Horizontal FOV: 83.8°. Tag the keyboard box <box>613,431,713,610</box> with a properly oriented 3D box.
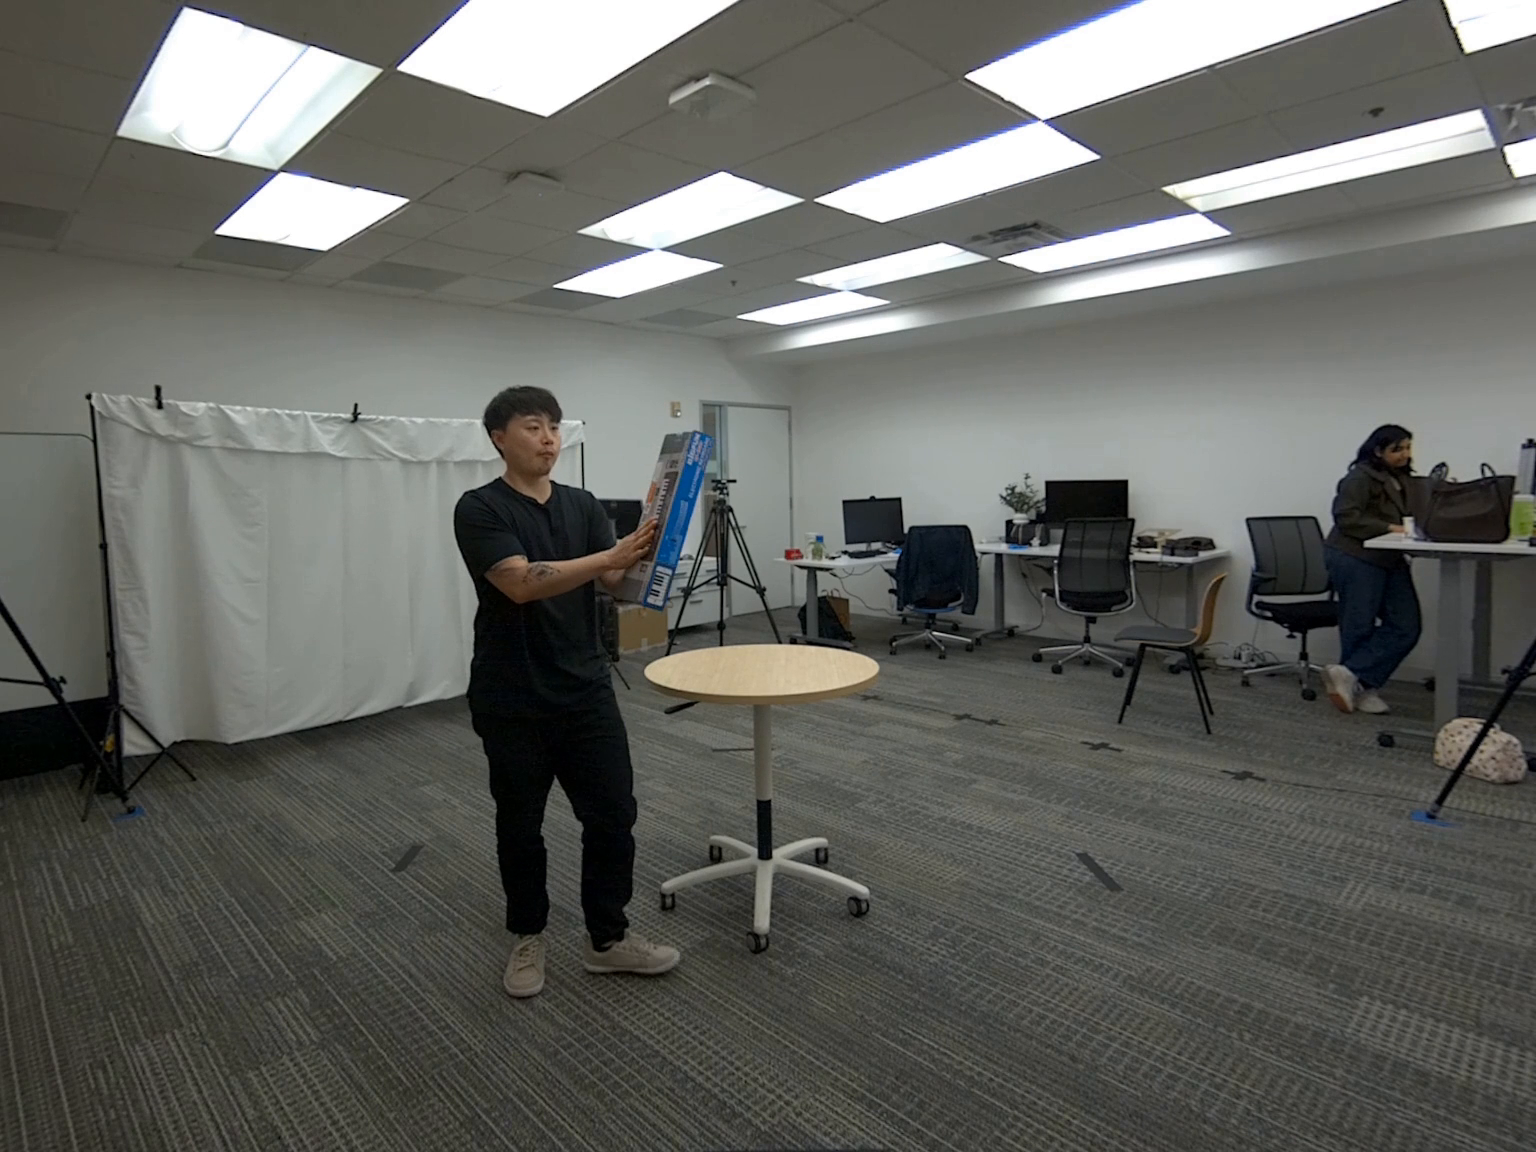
[{"bbox_3d":[-0.255,-0.140,2.103,0.057,0.438,0.180,19,-6,-27],"label":"keyboard box"}]
